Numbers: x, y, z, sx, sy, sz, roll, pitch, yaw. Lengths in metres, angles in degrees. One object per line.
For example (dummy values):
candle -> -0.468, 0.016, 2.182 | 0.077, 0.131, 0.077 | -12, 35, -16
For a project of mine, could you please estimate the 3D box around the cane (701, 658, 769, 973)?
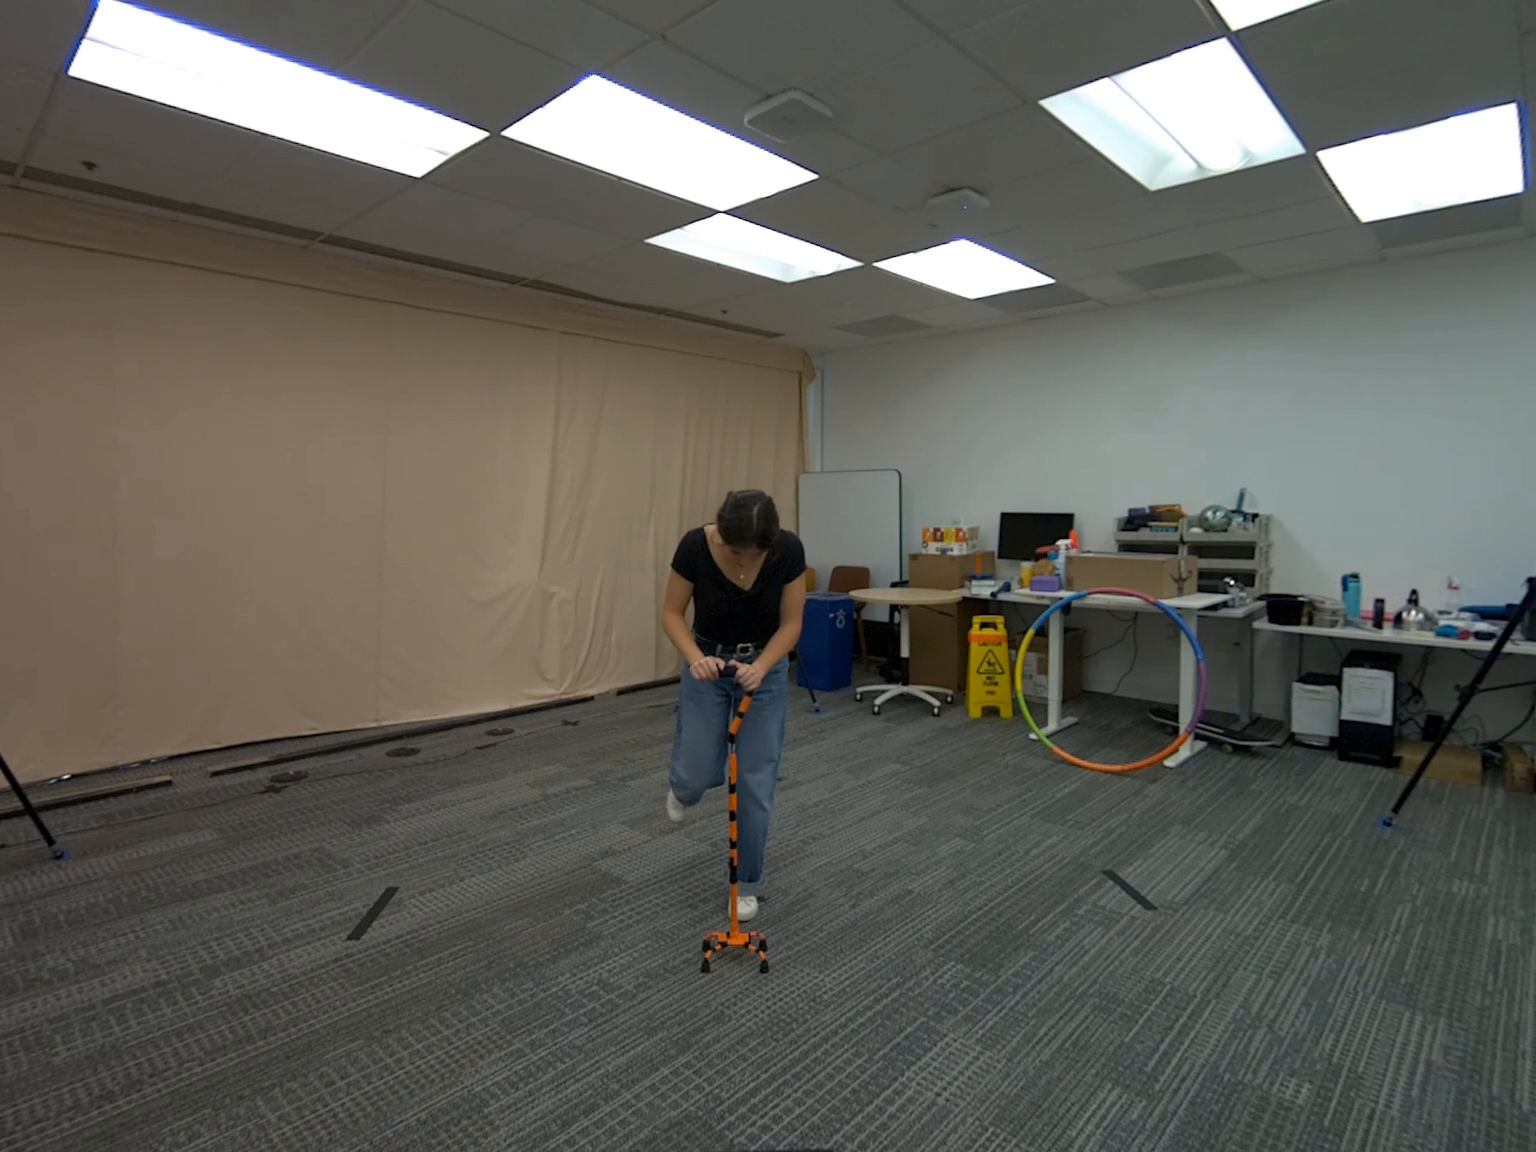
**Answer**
cane -> -0.103, 0.718, 2.549 | 0.206, 0.906, 0.152 | 0, 4, 0
